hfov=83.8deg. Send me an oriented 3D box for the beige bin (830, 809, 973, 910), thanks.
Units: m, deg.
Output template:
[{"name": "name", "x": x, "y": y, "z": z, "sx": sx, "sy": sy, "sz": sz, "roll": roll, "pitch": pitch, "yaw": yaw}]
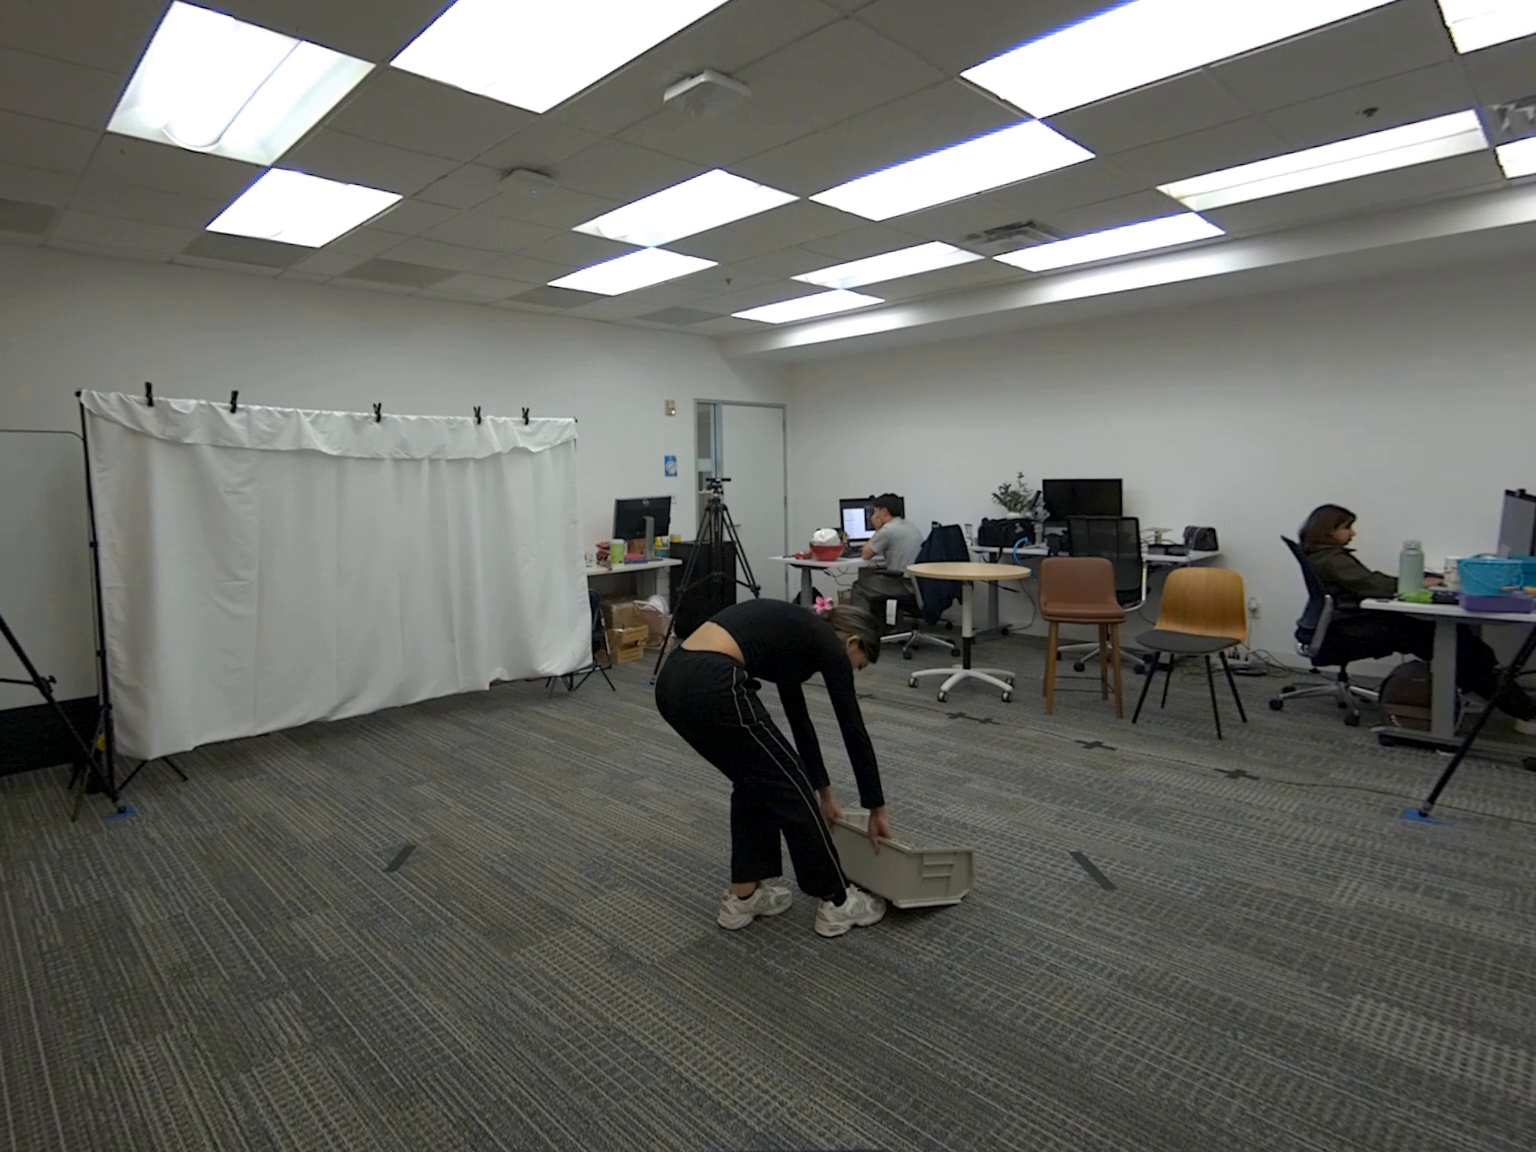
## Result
[{"name": "beige bin", "x": 0.412, "y": 0.936, "z": 2.877, "sx": 0.365, "sy": 0.189, "sz": 0.435, "roll": 13, "pitch": -4, "yaw": -40}]
